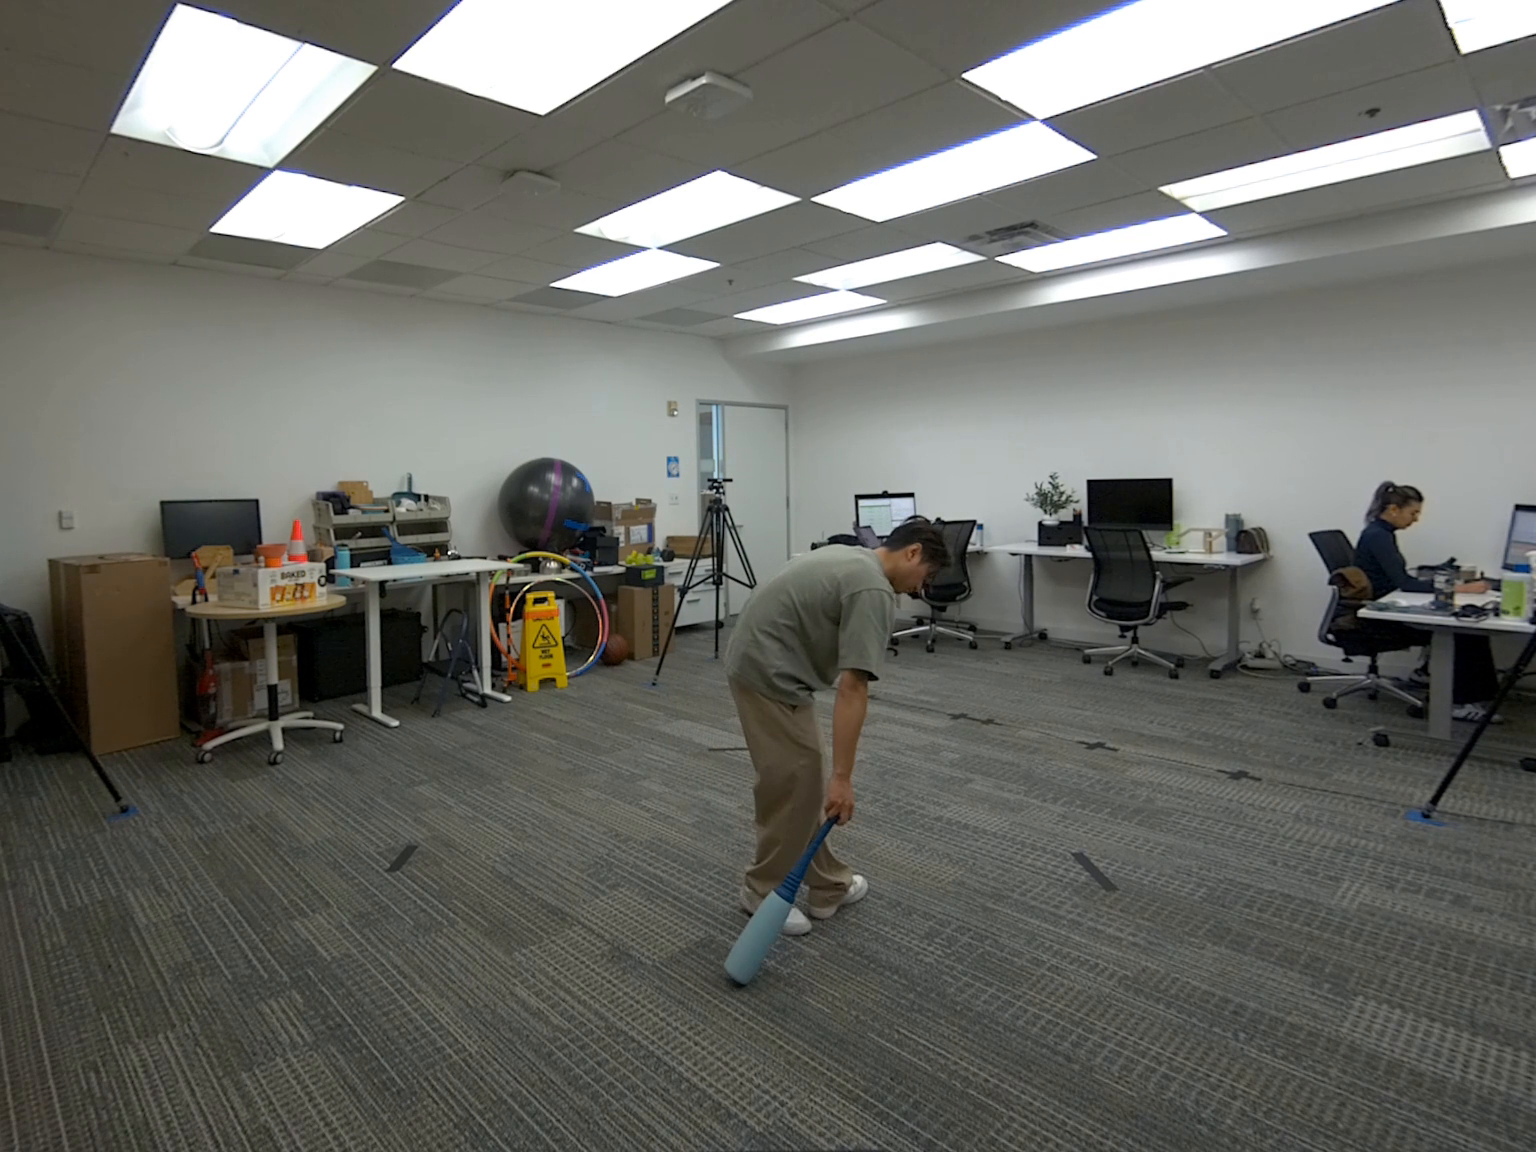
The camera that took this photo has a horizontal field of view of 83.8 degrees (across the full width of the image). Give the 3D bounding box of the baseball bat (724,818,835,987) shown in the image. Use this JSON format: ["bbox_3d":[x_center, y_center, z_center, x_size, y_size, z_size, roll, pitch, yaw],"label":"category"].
[{"bbox_3d":[0.059,0.899,2.413,0.090,0.544,0.088,33,-10,4],"label":"baseball bat"}]
